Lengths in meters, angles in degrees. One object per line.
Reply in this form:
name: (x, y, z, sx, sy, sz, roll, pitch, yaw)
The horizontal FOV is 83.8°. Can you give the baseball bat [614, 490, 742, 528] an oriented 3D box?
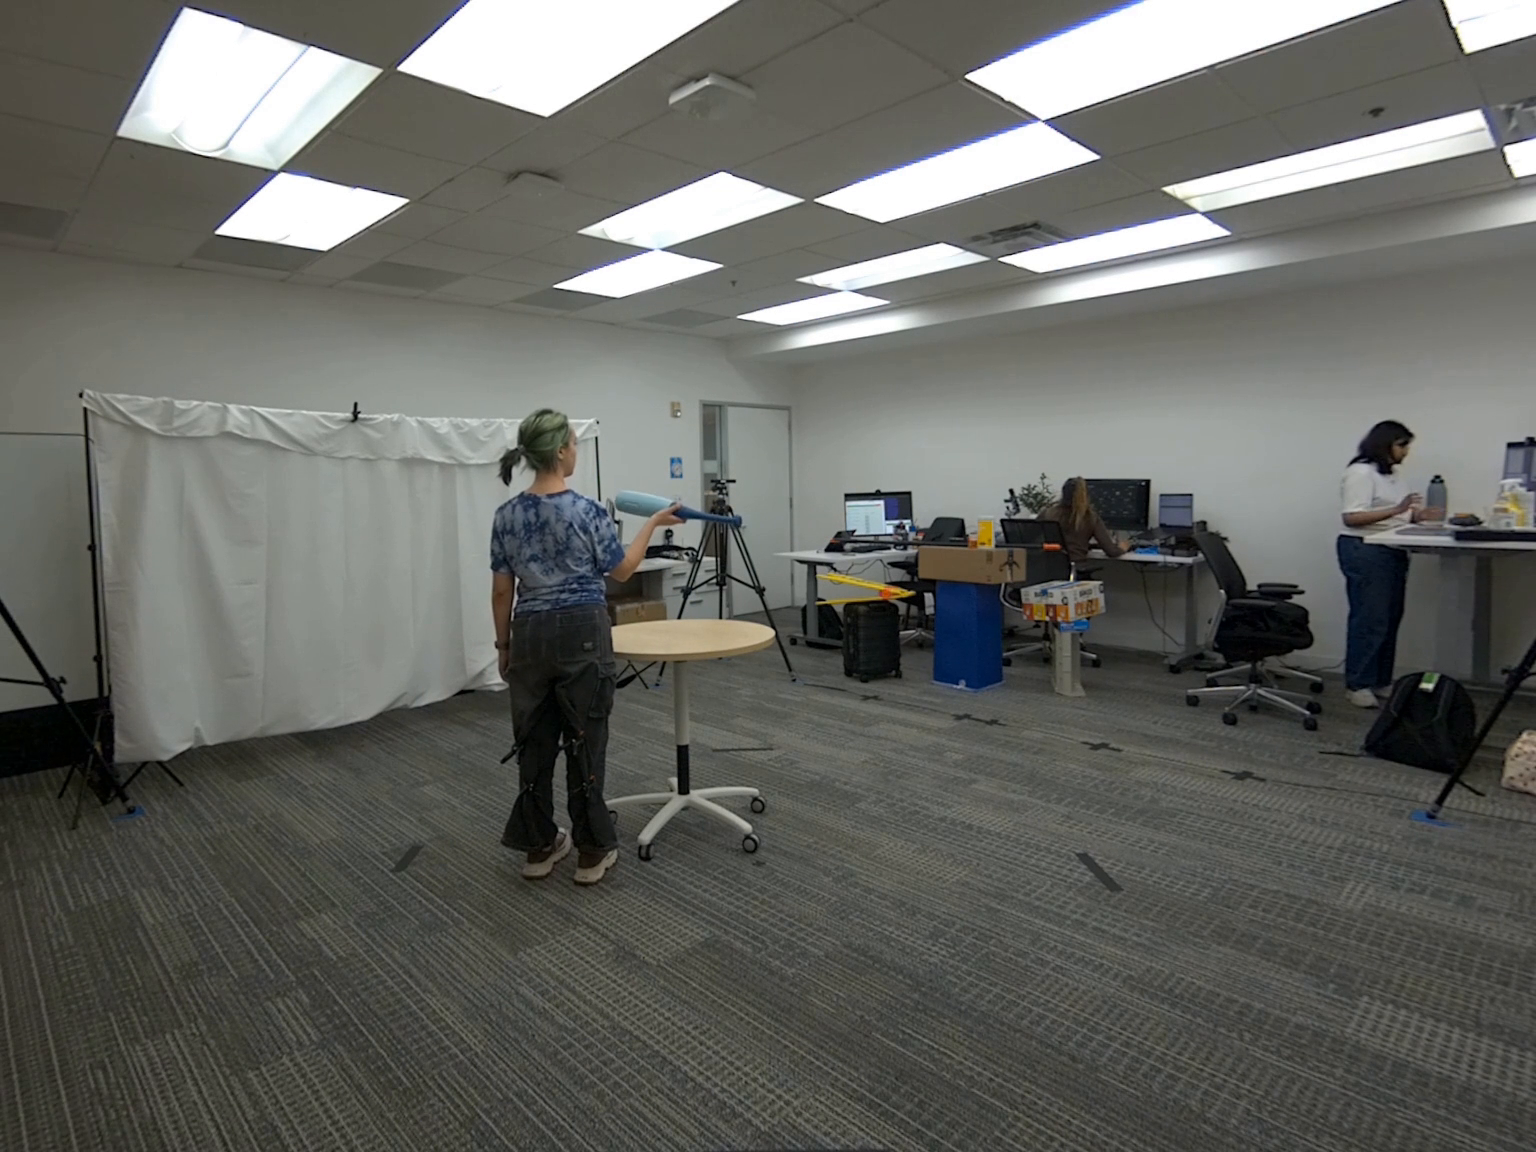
baseball bat: (-0.346, -0.247, 3.243, 0.559, 0.088, 0.087, 12, 10, 29)
